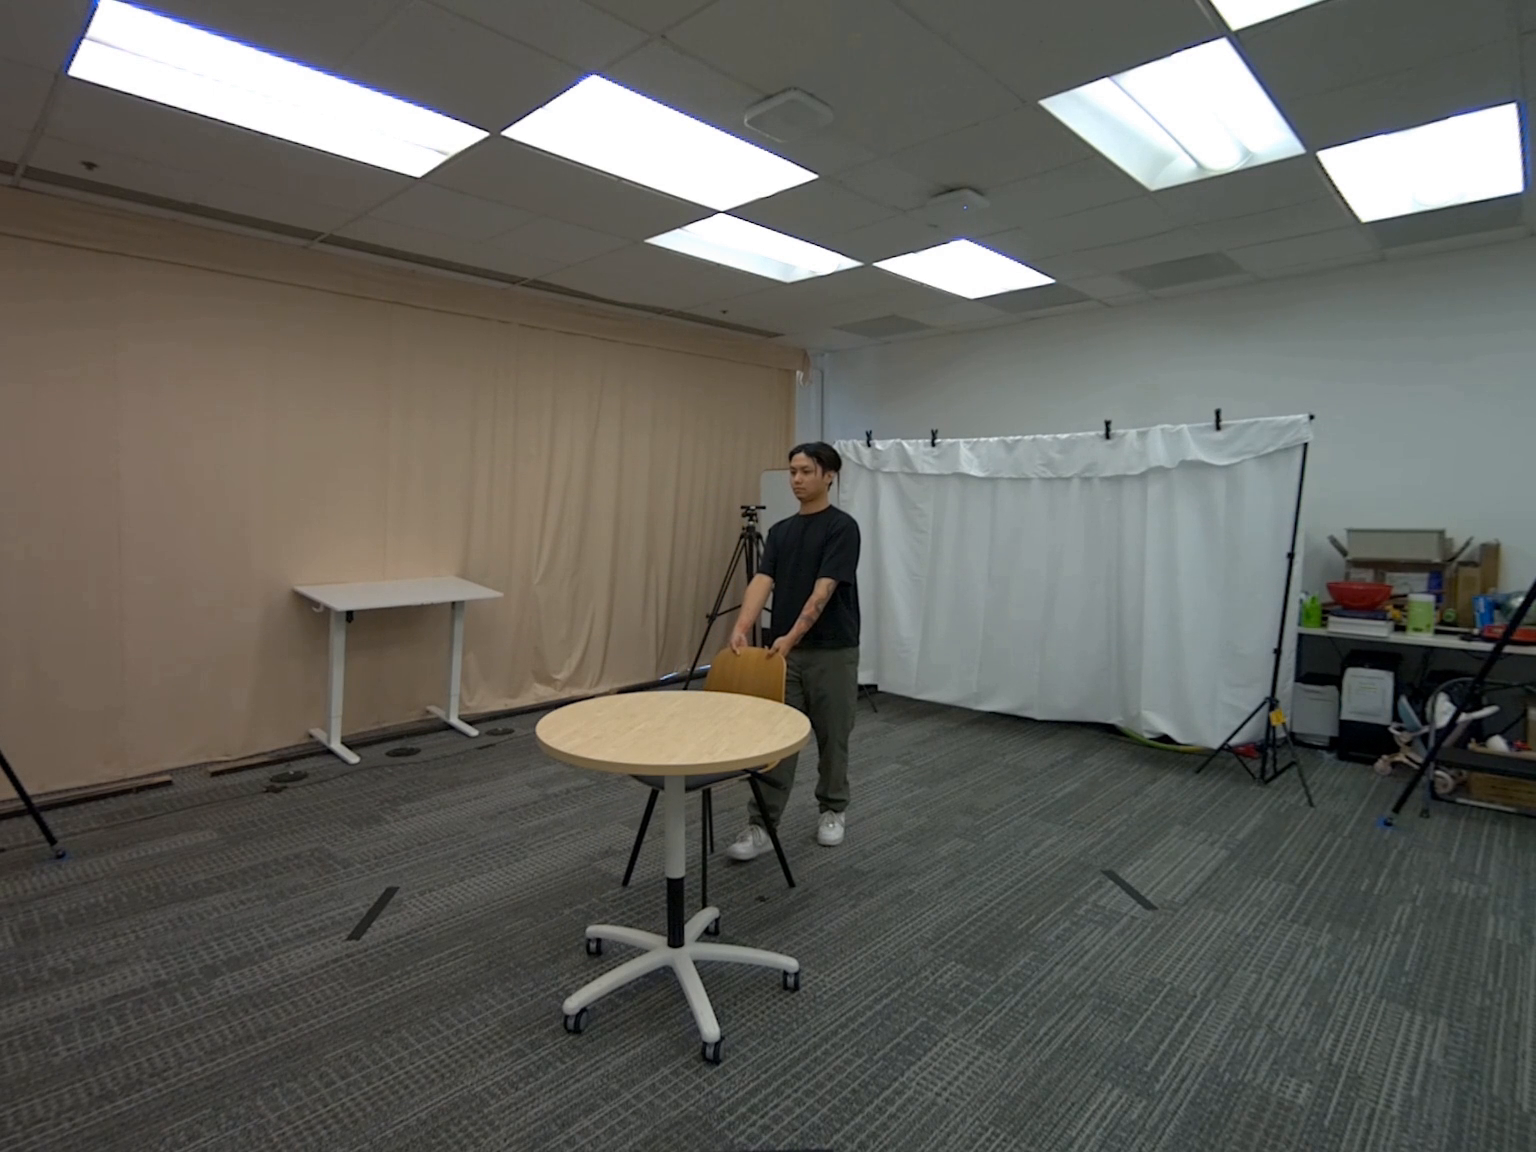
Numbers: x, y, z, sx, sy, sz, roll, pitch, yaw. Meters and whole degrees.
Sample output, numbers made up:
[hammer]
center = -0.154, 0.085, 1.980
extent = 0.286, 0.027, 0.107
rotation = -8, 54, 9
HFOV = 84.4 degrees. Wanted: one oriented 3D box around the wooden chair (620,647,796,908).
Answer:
[wooden chair]
center = -0.222, 0.709, 3.043
extent = 0.494, 0.877, 0.506
rotation = 3, 0, 45
